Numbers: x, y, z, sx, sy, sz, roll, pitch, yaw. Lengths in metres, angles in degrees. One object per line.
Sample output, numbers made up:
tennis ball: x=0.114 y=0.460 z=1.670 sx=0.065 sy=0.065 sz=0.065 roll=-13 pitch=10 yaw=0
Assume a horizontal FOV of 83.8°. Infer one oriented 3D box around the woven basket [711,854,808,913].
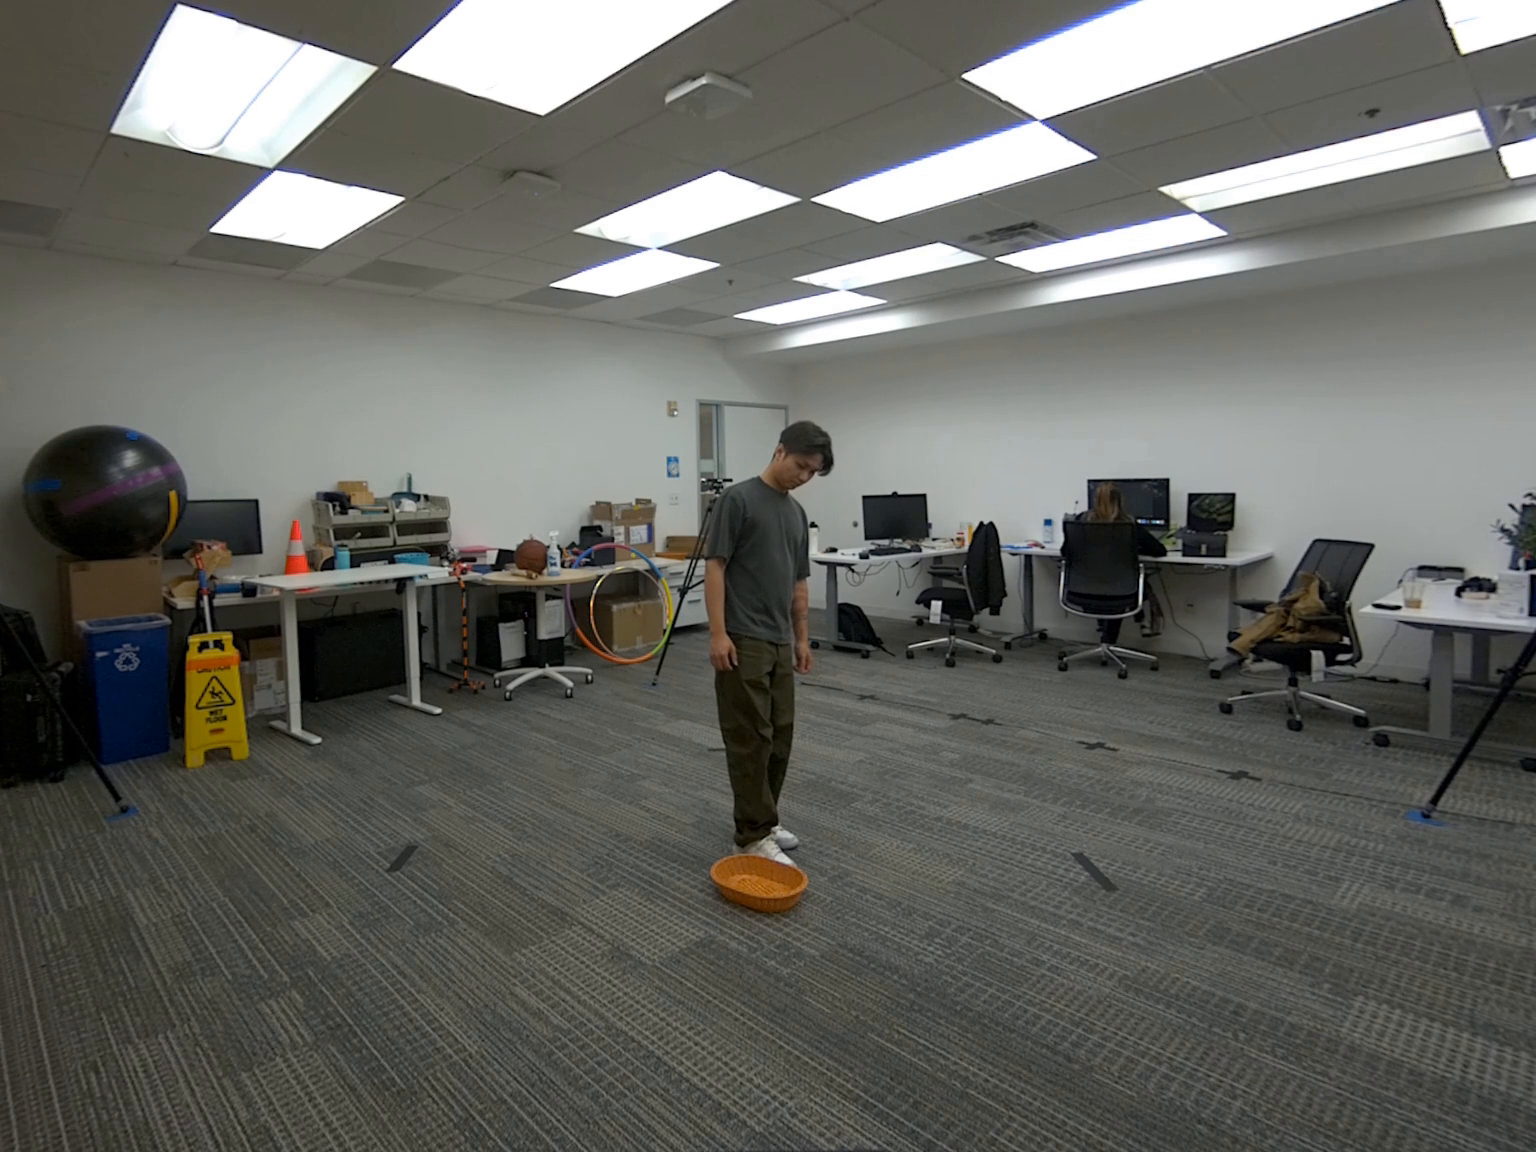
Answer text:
woven basket: x=-0.031 y=1.035 z=2.869 sx=0.361 sy=0.073 sz=0.246 roll=4 pitch=8 yaw=40
